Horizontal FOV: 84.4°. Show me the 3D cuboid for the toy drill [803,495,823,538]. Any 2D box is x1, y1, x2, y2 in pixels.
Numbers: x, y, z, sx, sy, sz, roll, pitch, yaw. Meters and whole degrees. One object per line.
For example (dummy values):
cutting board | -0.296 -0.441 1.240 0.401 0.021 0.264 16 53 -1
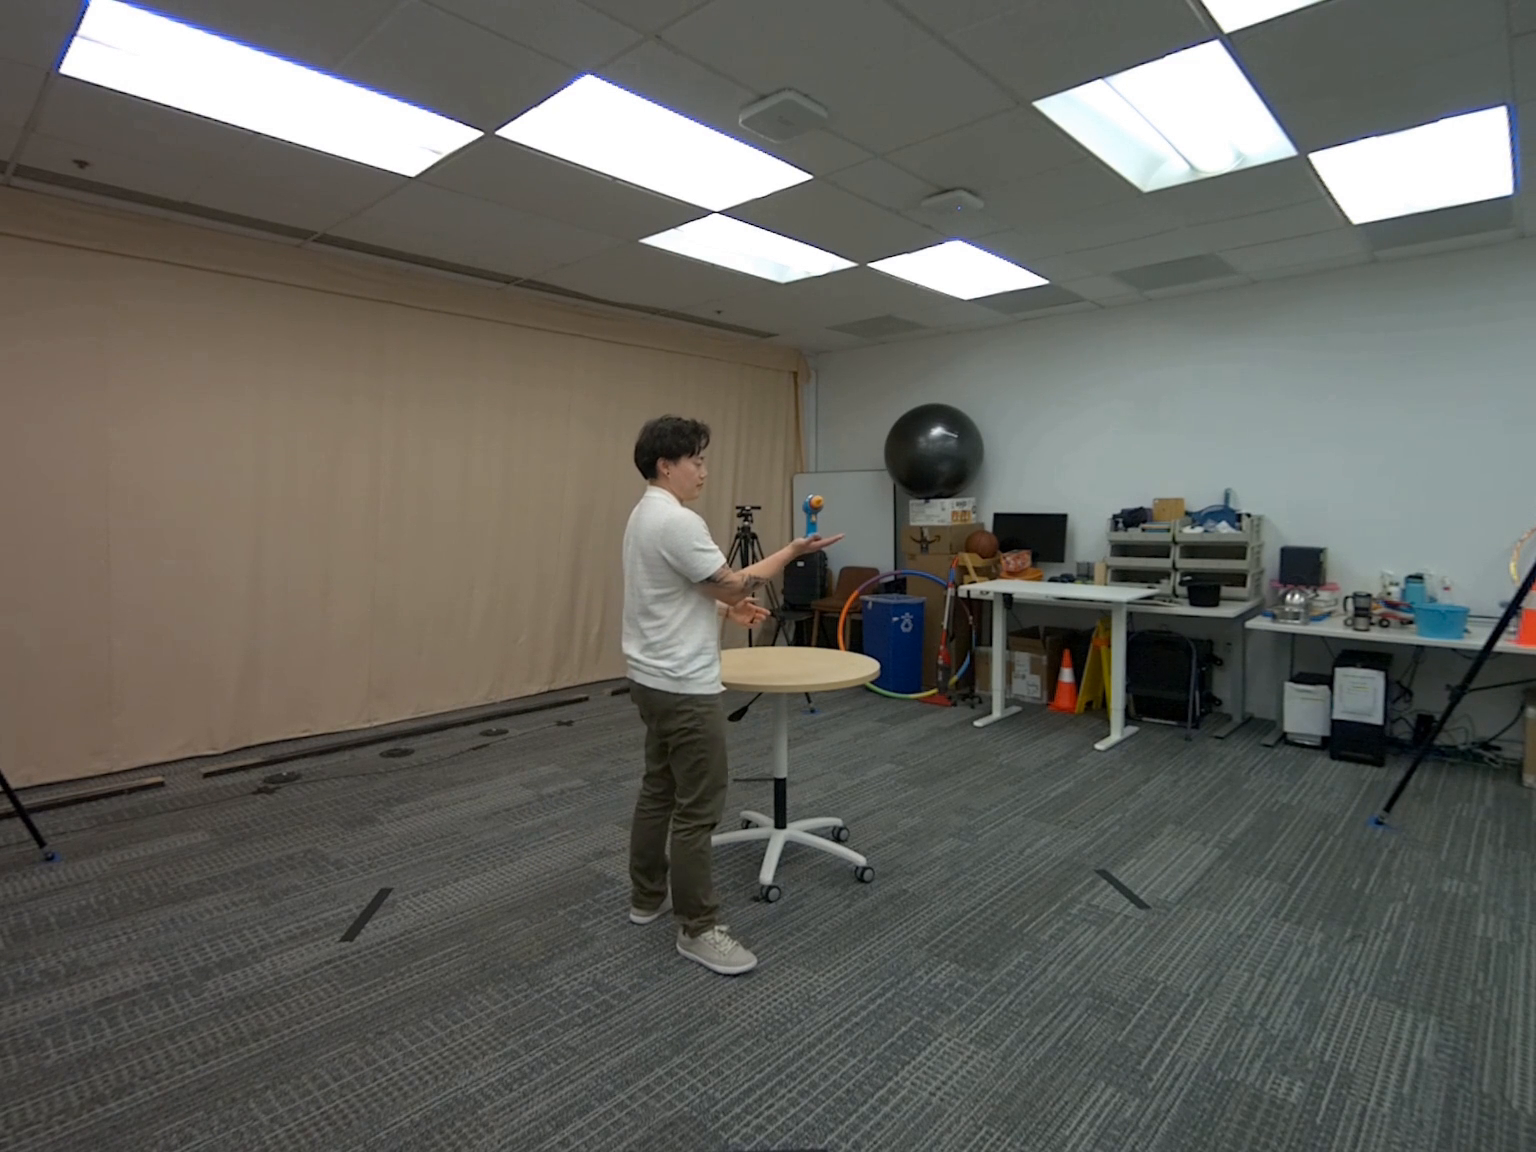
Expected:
toy drill | 0.155 -0.185 2.613 0.060 0.147 0.171 2 -7 -12
